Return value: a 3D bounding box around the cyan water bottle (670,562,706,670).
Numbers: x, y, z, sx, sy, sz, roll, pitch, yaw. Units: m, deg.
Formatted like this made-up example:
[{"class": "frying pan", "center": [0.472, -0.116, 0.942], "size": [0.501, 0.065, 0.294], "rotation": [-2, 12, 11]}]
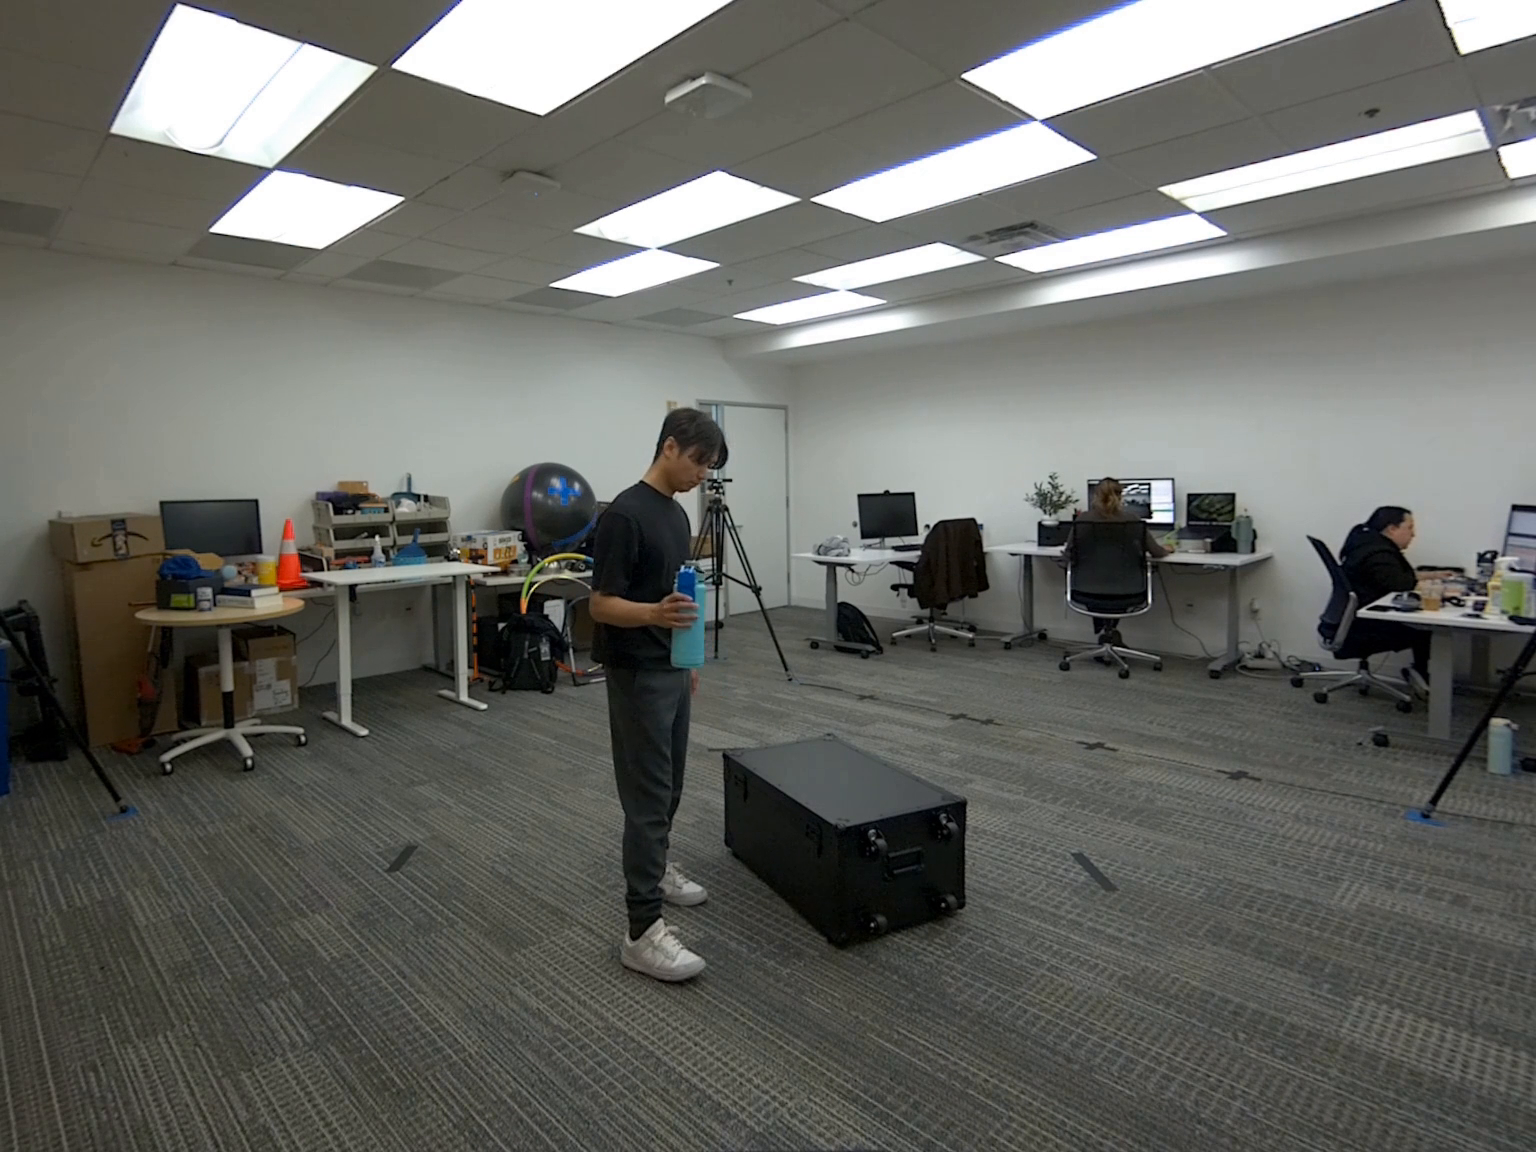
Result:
[{"class": "cyan water bottle", "center": [-0.212, 0.106, 2.317], "size": [0.092, 0.282, 0.093], "rotation": [5, 6, -2]}]
